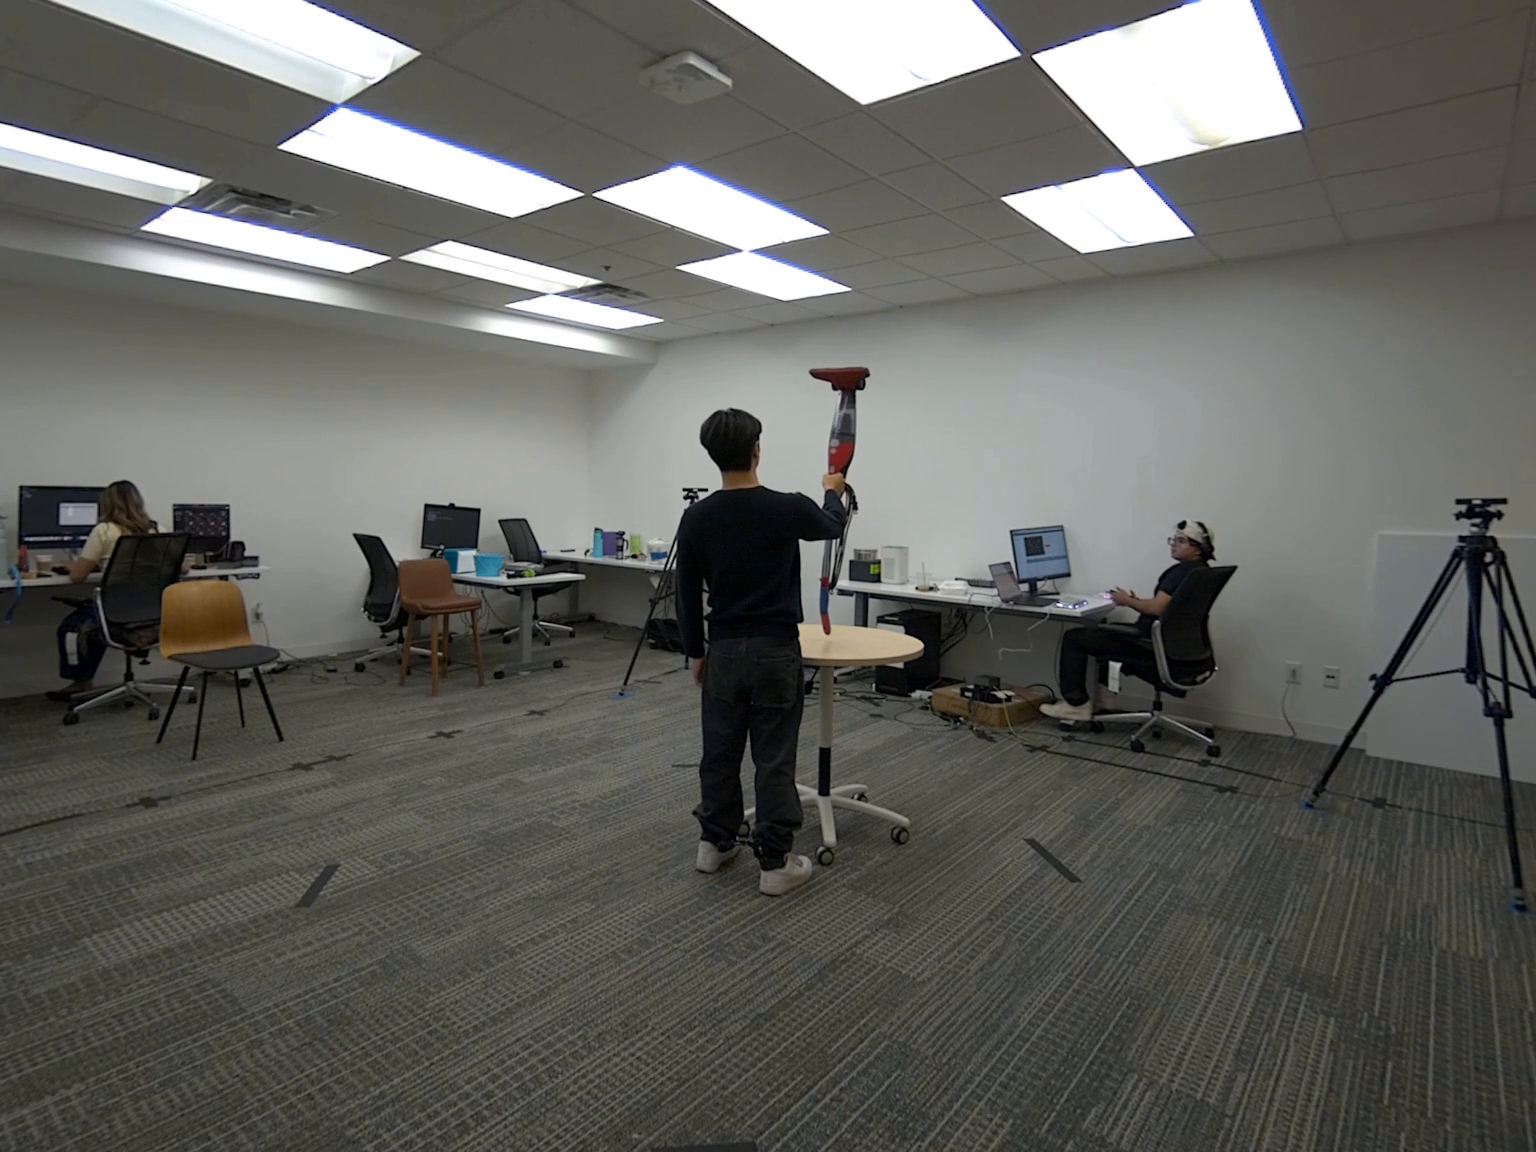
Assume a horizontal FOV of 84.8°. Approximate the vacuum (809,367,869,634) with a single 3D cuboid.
[{"bbox_3d":[0.272,-0.294,3.448,0.261,1.046,0.140,5,4,36],"label":"vacuum"}]
